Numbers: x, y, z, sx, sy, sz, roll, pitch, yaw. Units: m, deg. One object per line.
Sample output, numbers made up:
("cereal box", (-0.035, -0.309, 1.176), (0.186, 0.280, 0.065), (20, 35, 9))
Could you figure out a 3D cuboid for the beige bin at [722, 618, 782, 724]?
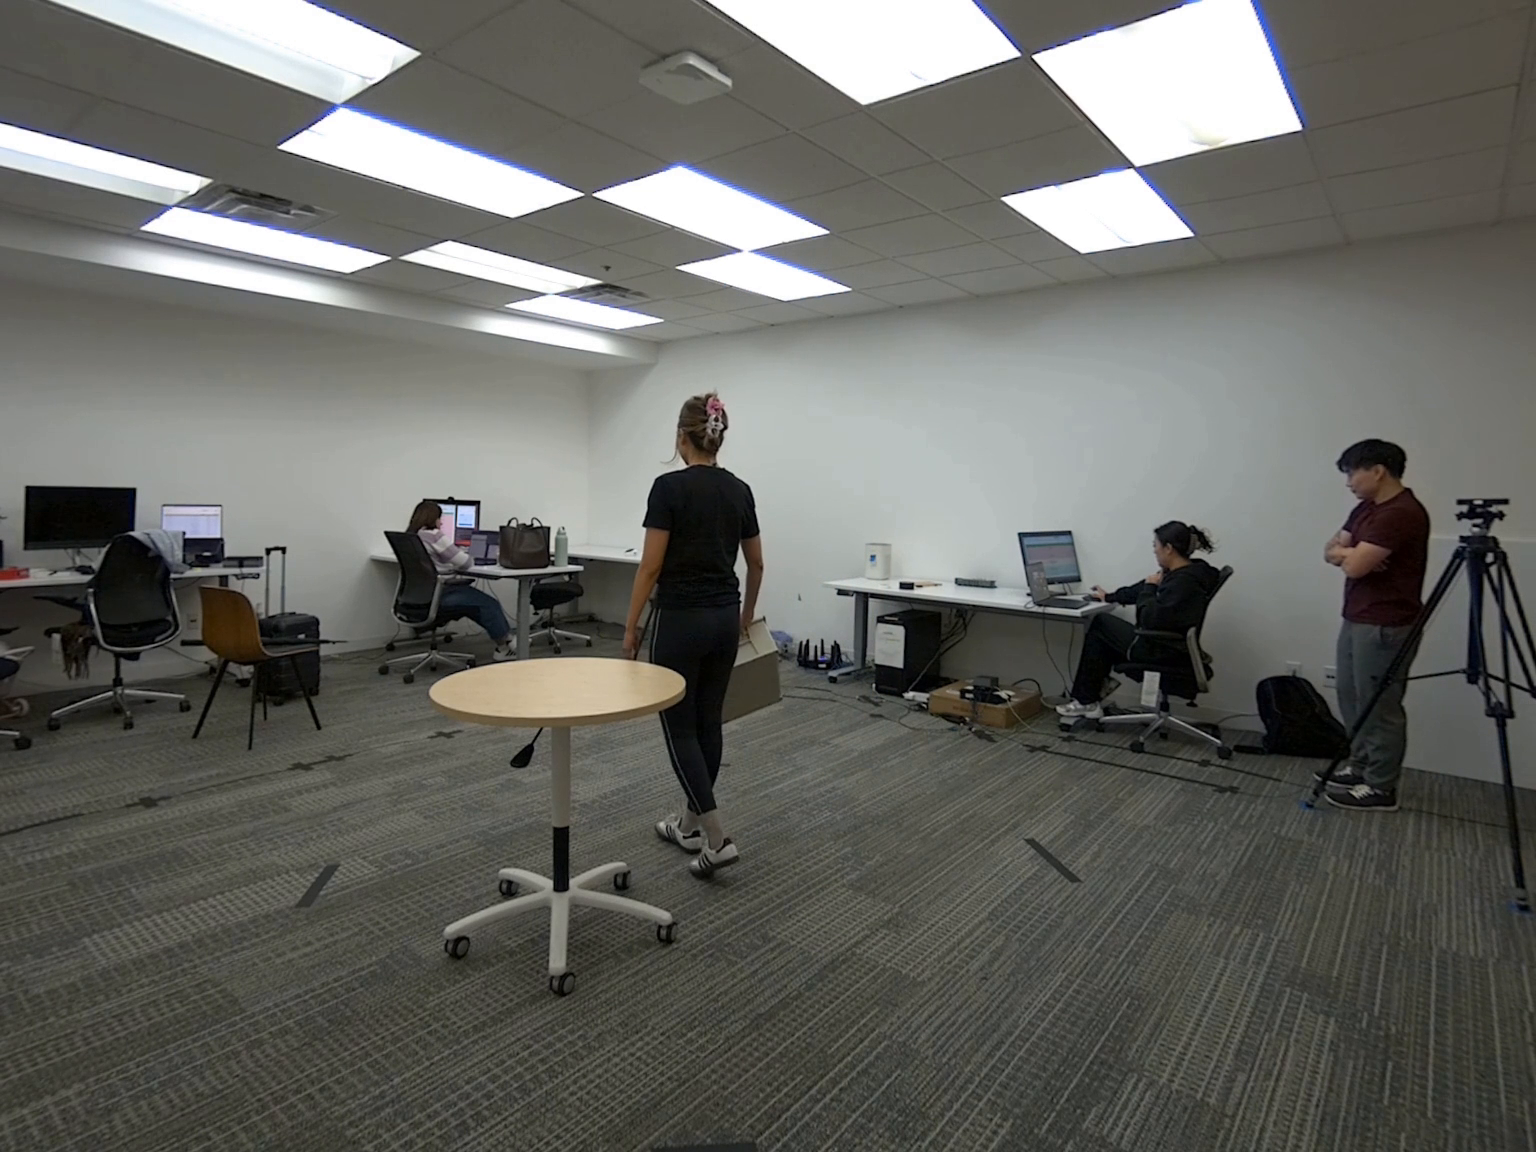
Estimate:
("beige bin", (-0.159, 0.416, 3.623), (0.375, 0.196, 0.409), (-19, -38, -10))
